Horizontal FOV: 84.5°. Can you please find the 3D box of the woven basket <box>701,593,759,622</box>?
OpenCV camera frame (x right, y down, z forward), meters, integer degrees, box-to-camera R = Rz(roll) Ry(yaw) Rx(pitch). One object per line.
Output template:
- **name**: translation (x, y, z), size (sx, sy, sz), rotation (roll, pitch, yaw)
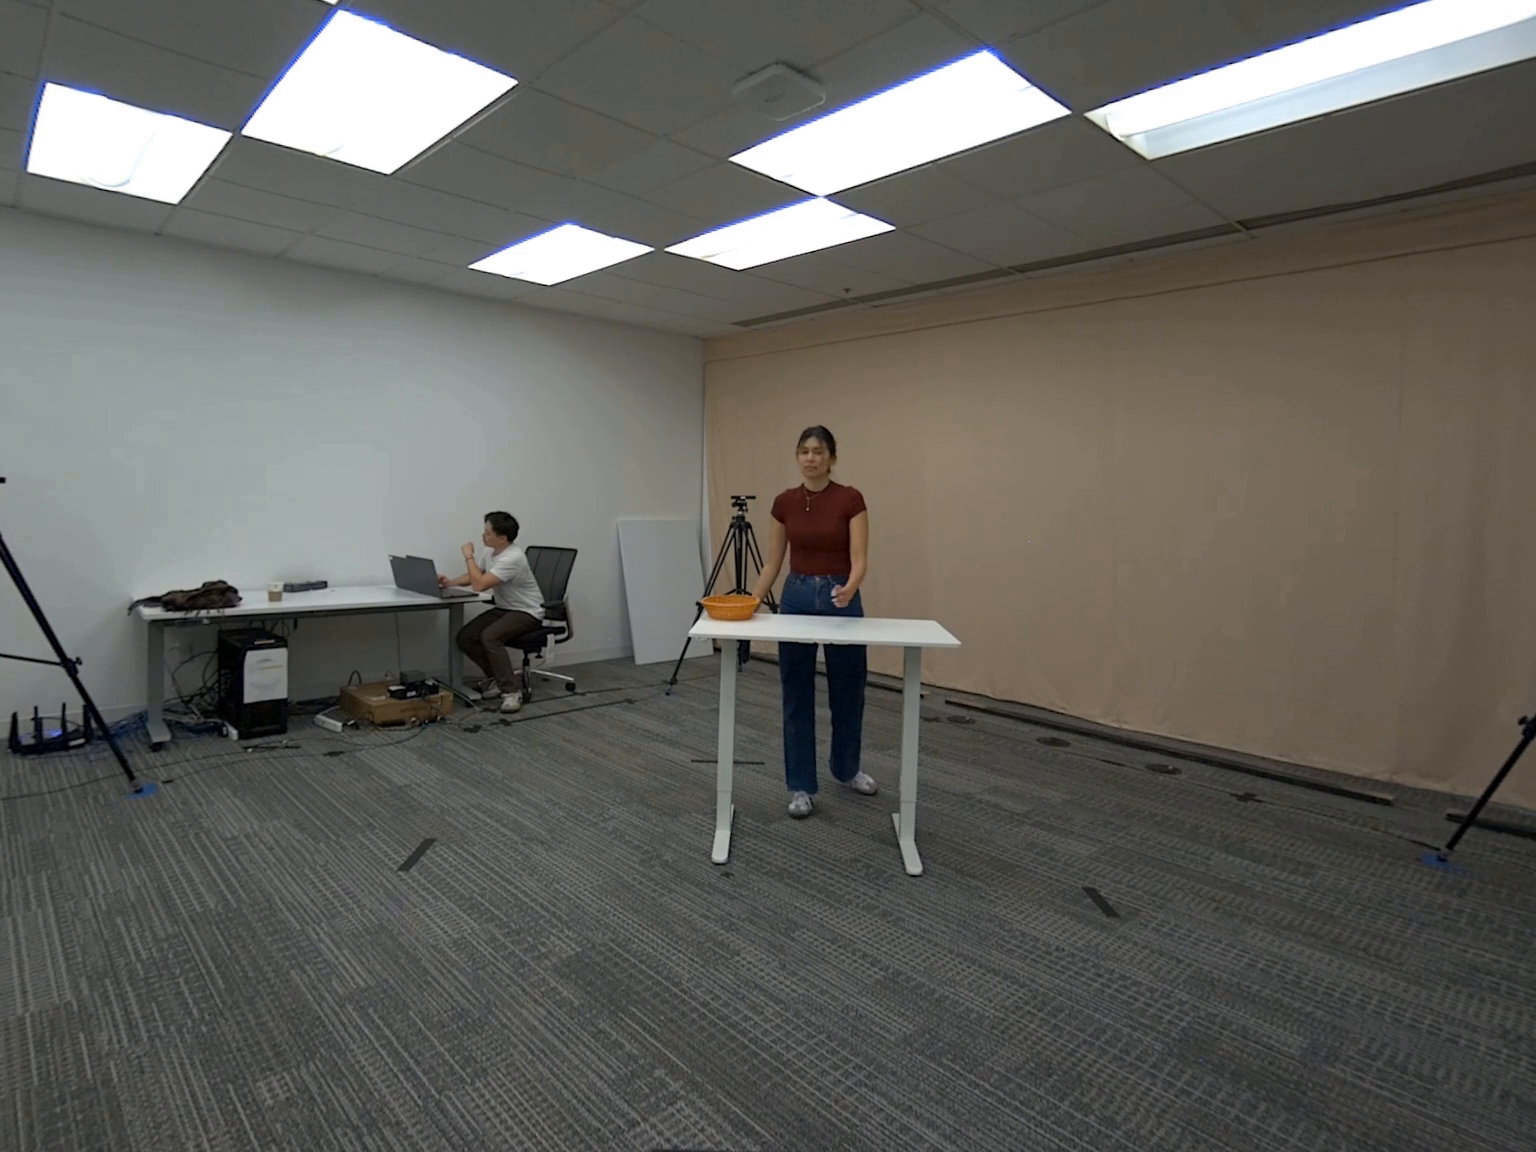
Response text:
- **woven basket**: translation (-0.169, 0.142, 3.613), size (0.254, 0.073, 0.349), rotation (1, 5, 6)
